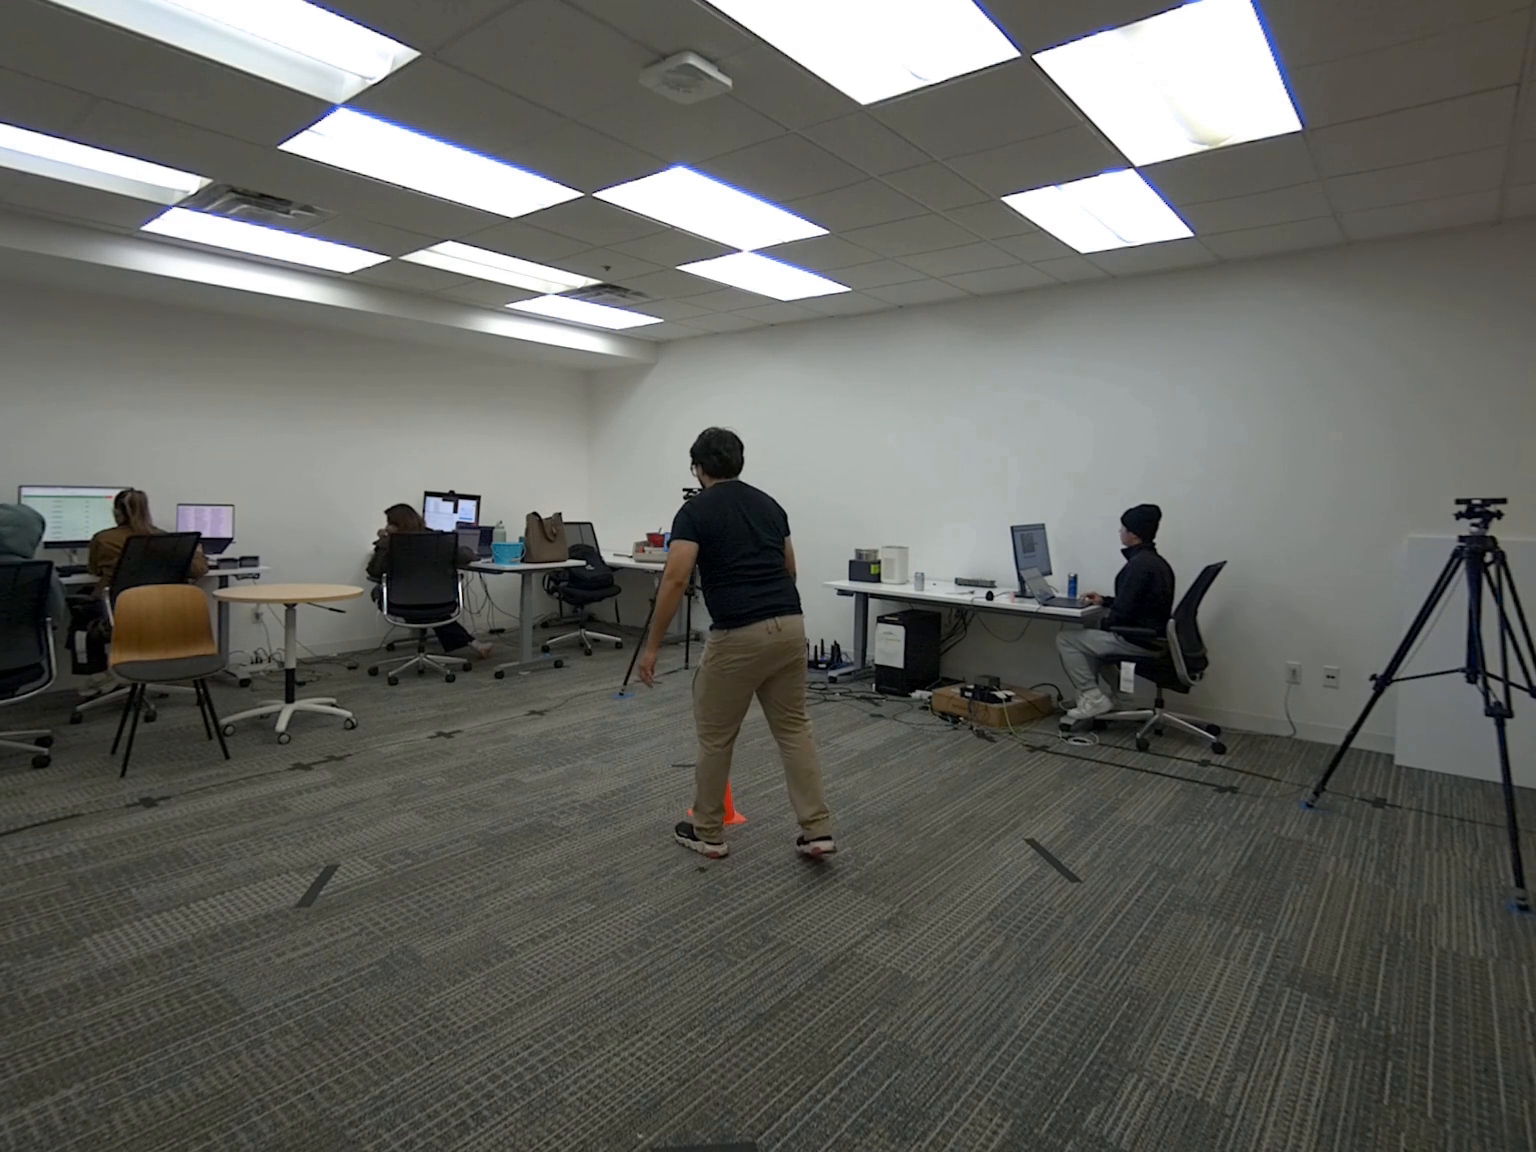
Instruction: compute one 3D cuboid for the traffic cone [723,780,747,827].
[{"bbox_3d":[-0.227,0.832,3.618,0.198,0.382,0.210,0,4,-25],"label":"traffic cone"}]
